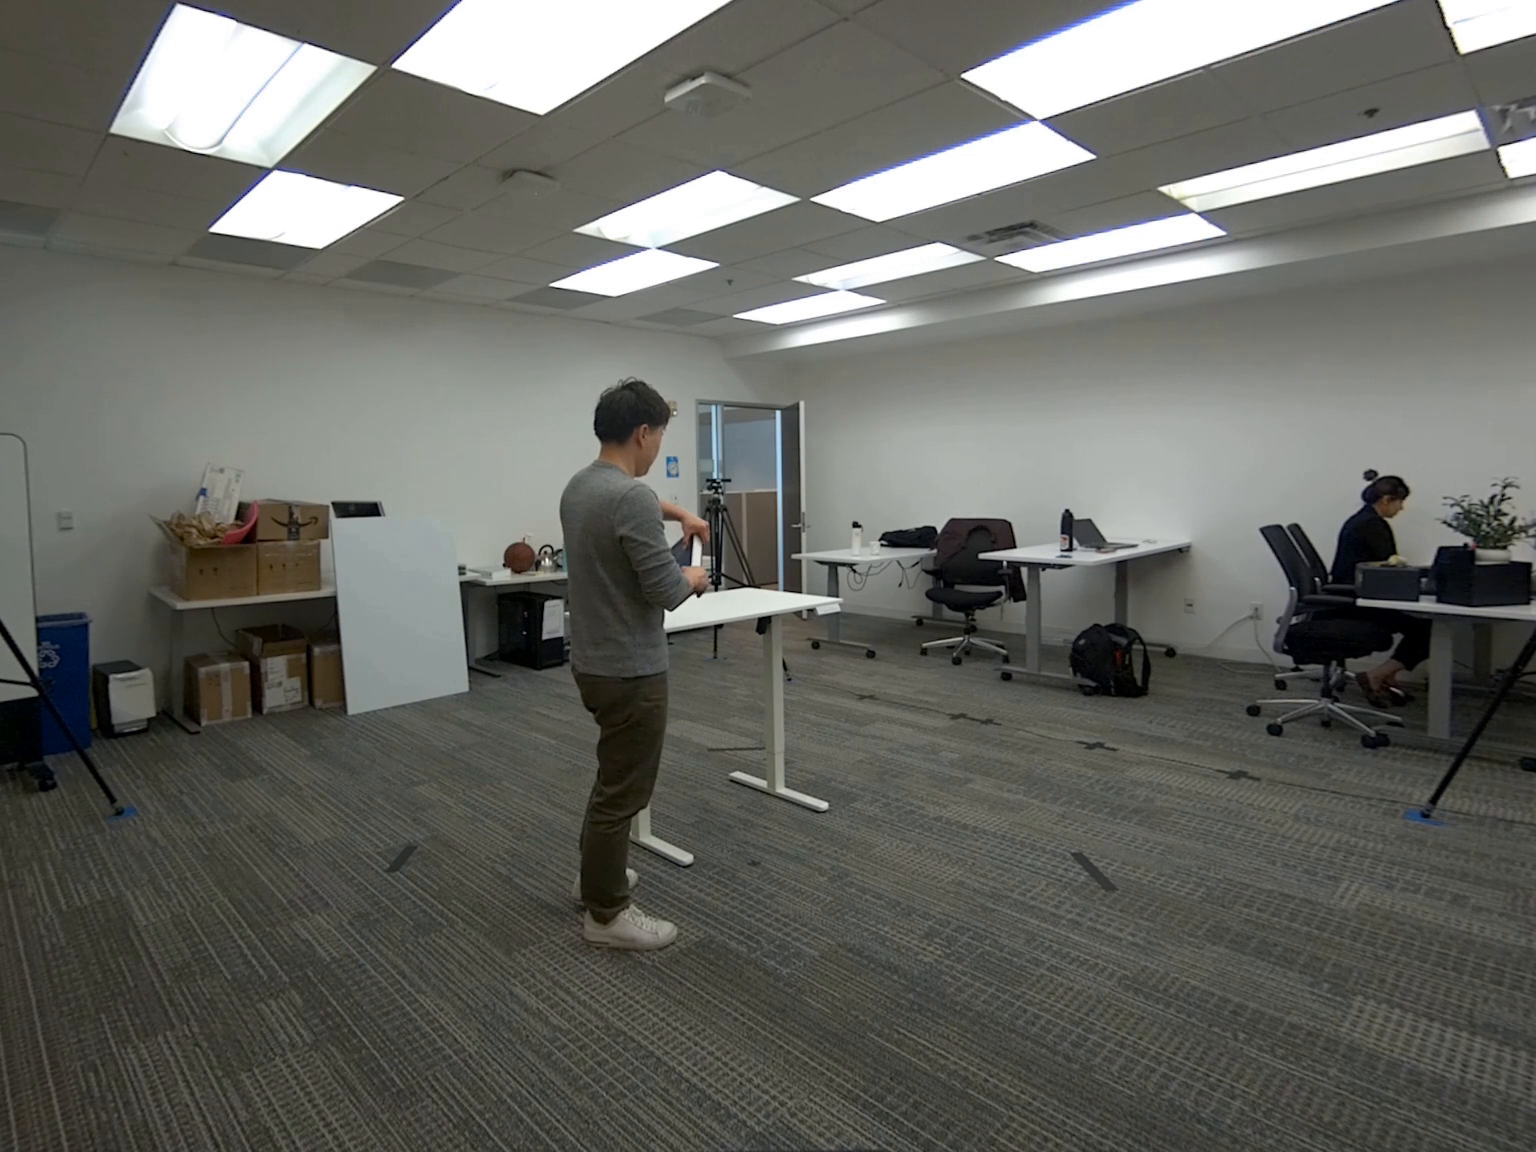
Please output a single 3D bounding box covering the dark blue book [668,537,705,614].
[{"bbox_3d":[-0.275,-0.023,2.786,0.044,0.251,0.163,27,-48,-22],"label":"dark blue book"}]
